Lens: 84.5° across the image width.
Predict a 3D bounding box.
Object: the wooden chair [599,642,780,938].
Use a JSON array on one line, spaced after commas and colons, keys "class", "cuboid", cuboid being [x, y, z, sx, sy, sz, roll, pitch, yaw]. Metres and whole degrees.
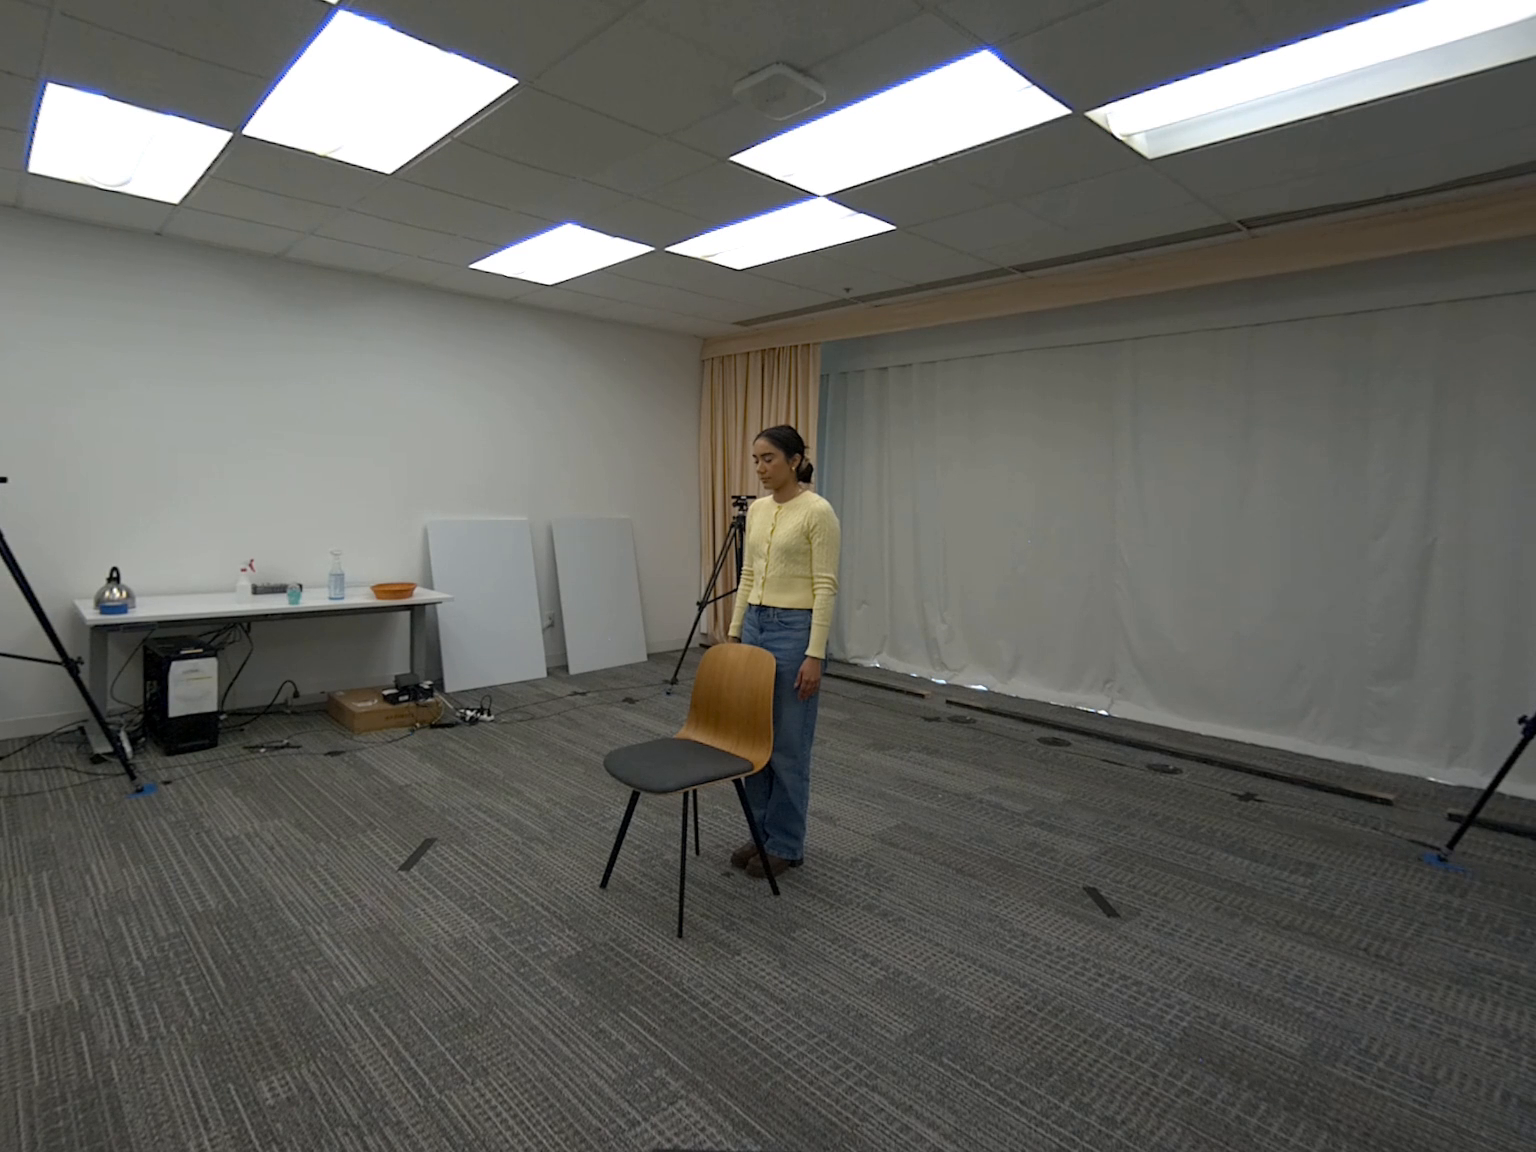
[{"class": "wooden chair", "cuboid": [-0.276, 0.689, 2.918, 0.510, 0.877, 0.490, 4, 1, -44]}]
